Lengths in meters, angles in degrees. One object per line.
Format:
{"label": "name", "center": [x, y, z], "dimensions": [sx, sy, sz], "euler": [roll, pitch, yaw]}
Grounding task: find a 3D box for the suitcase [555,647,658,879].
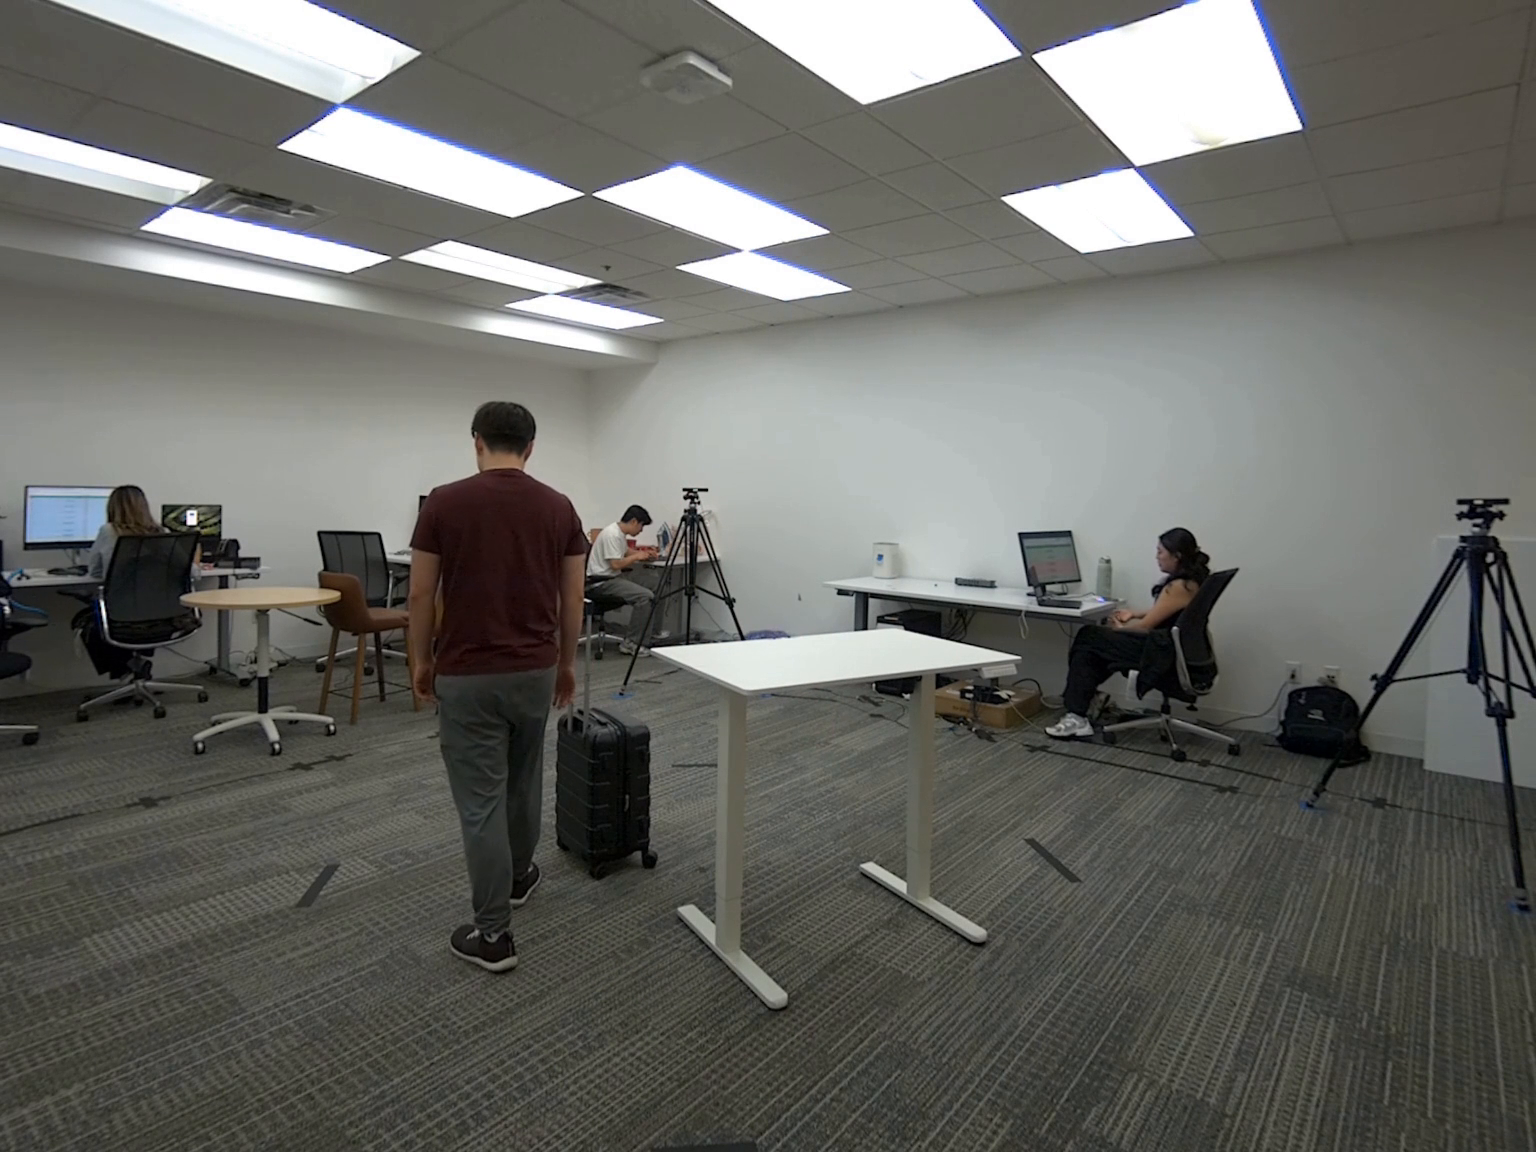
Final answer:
{"label": "suitcase", "center": [-0.624, 0.579, 3.174], "dimensions": [0.250, 0.976, 0.396], "euler": [0, 3, -32]}
